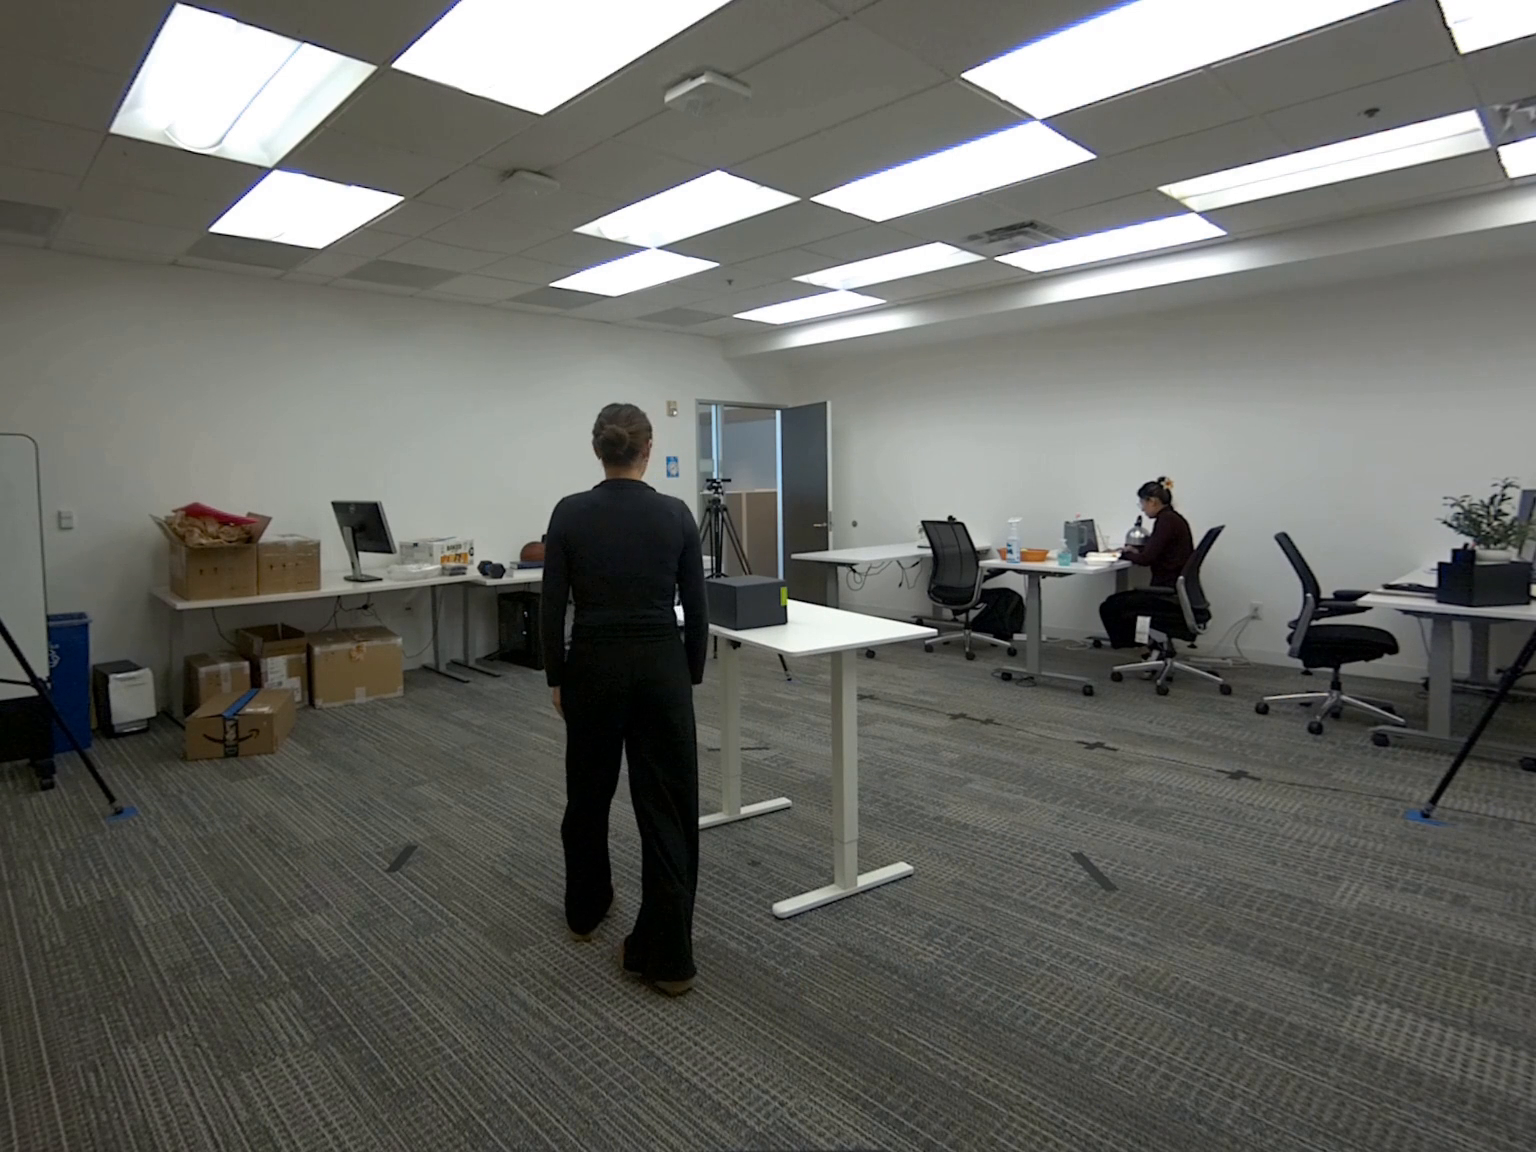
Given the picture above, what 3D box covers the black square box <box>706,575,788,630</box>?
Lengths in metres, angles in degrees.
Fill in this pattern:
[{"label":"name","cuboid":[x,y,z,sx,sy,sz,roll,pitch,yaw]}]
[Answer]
[{"label":"black square box","cuboid":[-0.080,0.090,3.049,0.212,0.155,0.234,-4,7,-32]}]
